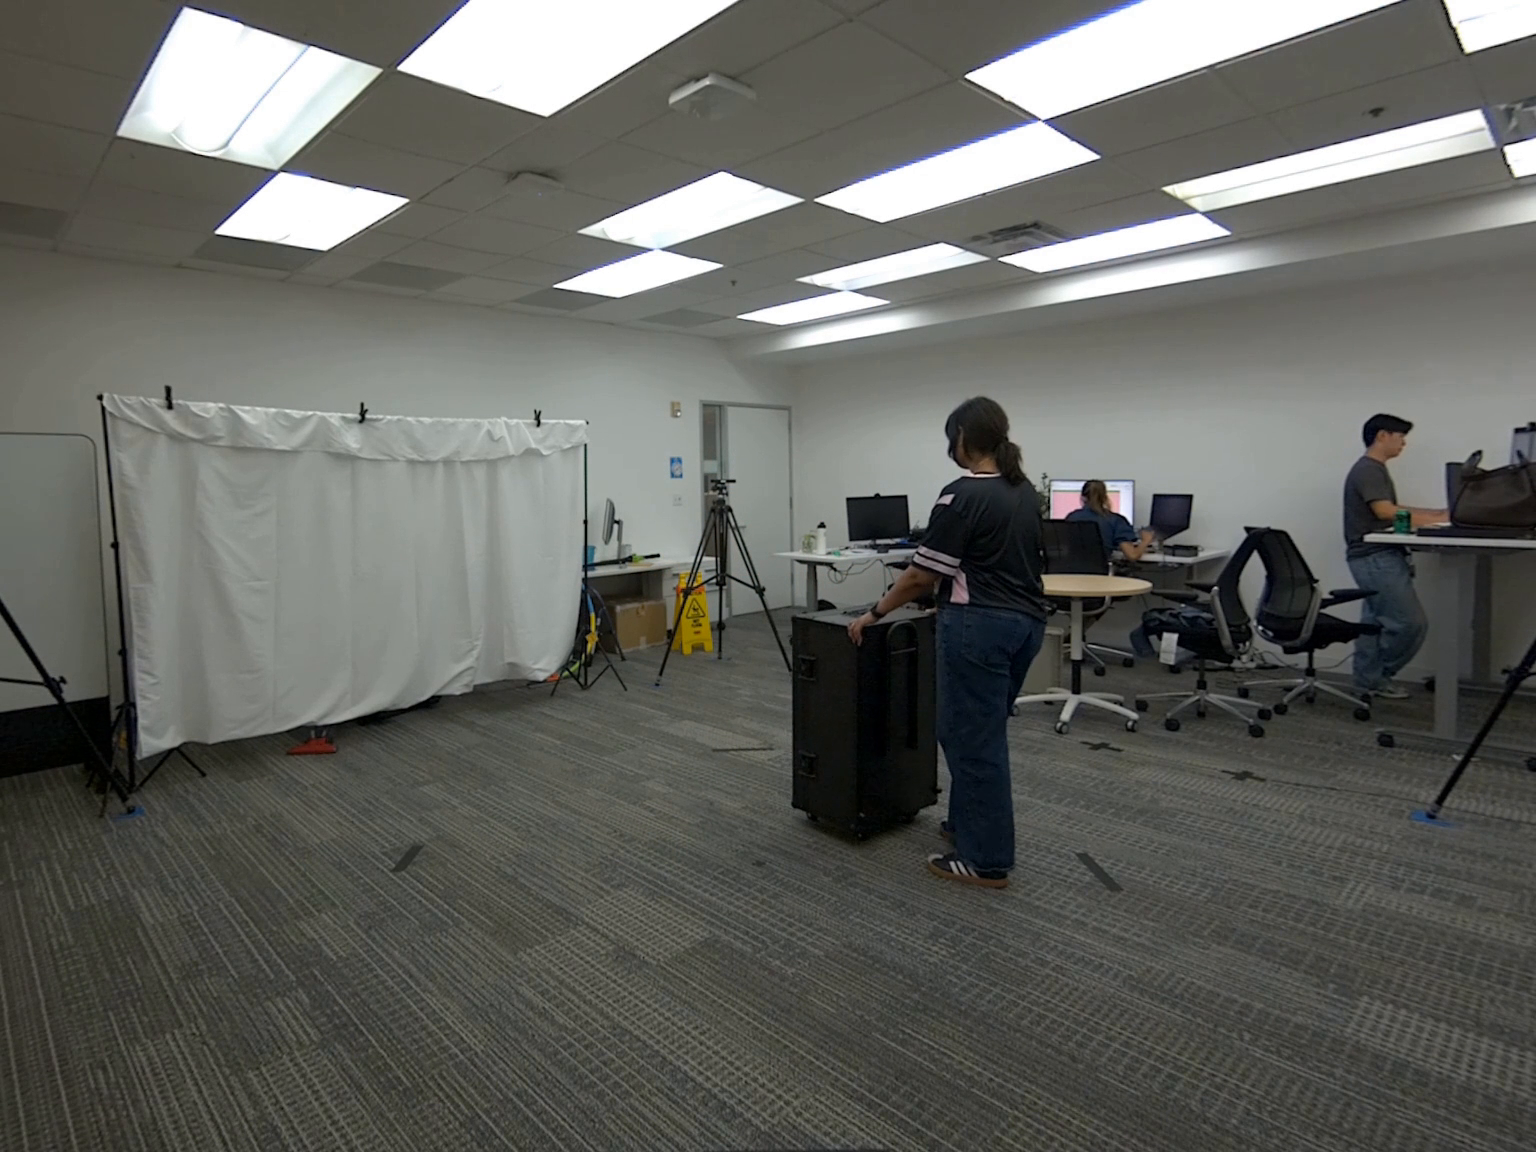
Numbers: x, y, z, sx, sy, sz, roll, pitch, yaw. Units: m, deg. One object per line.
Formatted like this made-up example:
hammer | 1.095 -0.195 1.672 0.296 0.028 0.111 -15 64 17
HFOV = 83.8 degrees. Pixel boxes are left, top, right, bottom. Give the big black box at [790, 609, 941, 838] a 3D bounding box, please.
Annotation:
big black box | 0.401 0.582 3.448 0.509 0.865 0.397 -4 6 -40
